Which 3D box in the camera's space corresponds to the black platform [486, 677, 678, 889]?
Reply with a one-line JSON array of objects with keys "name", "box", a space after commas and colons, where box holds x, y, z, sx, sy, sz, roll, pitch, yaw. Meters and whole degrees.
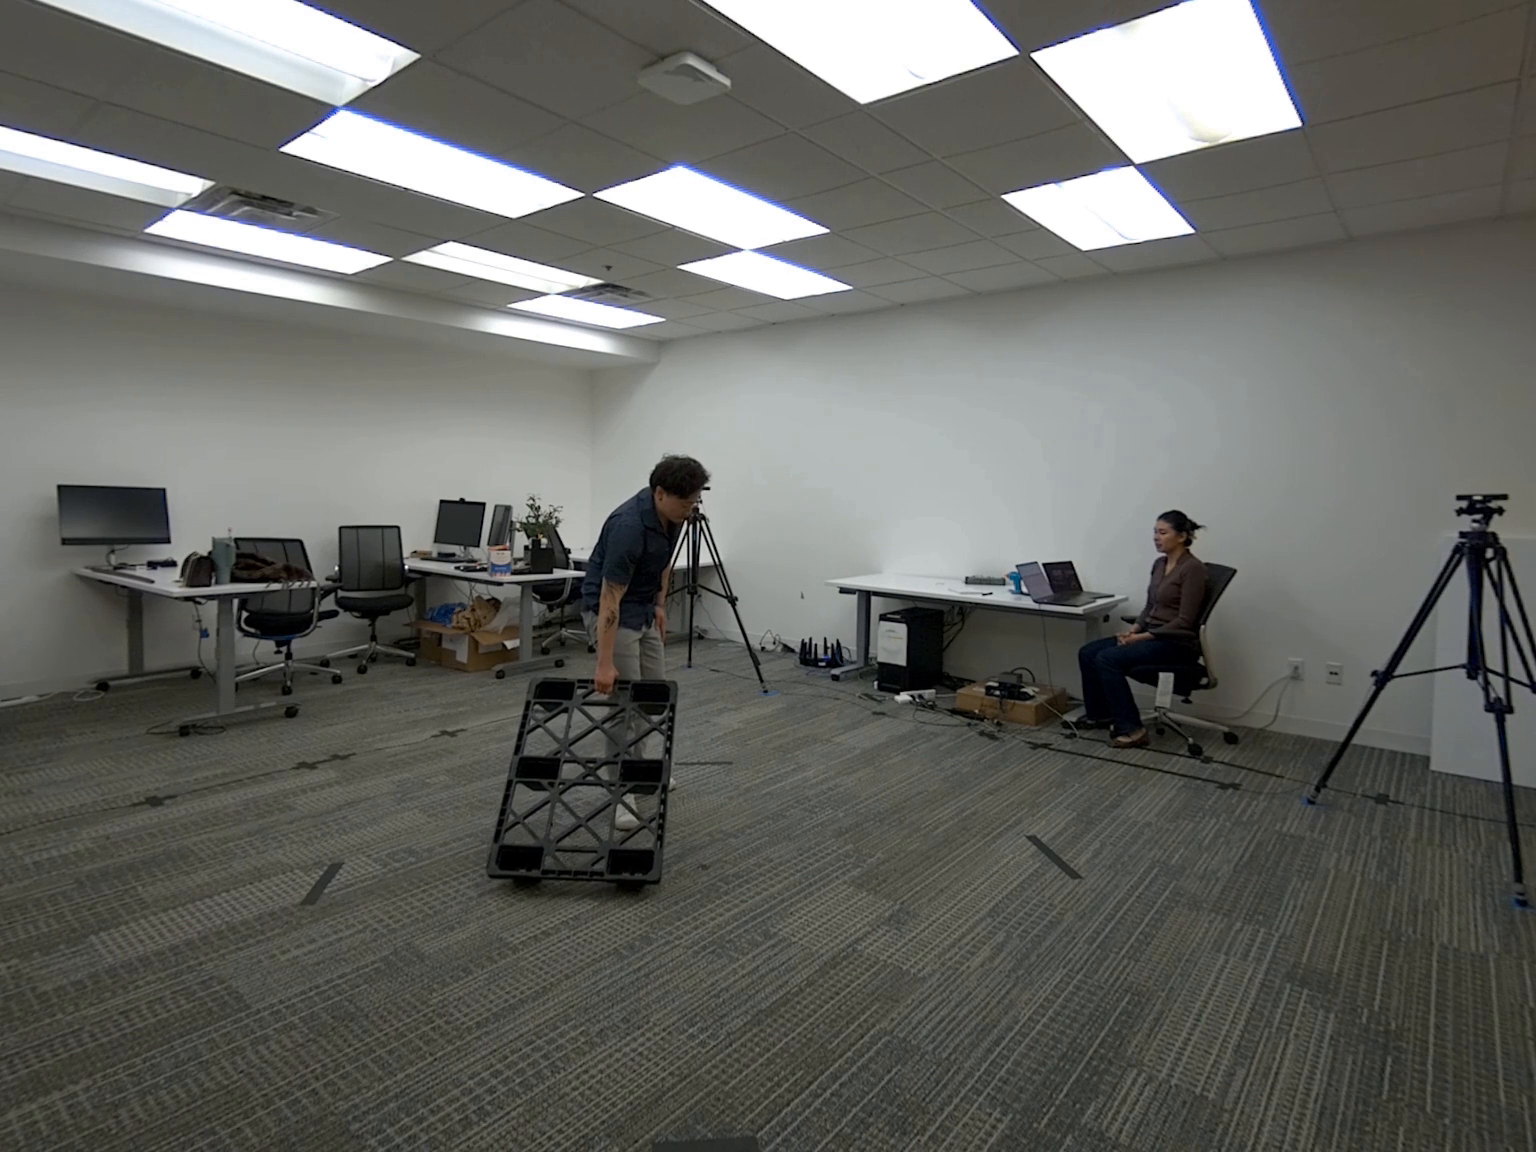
[{"name": "black platform", "box": [-0.670, 0.755, 3.183, 0.607, 0.828, 0.139, -1, -42, 2]}]
